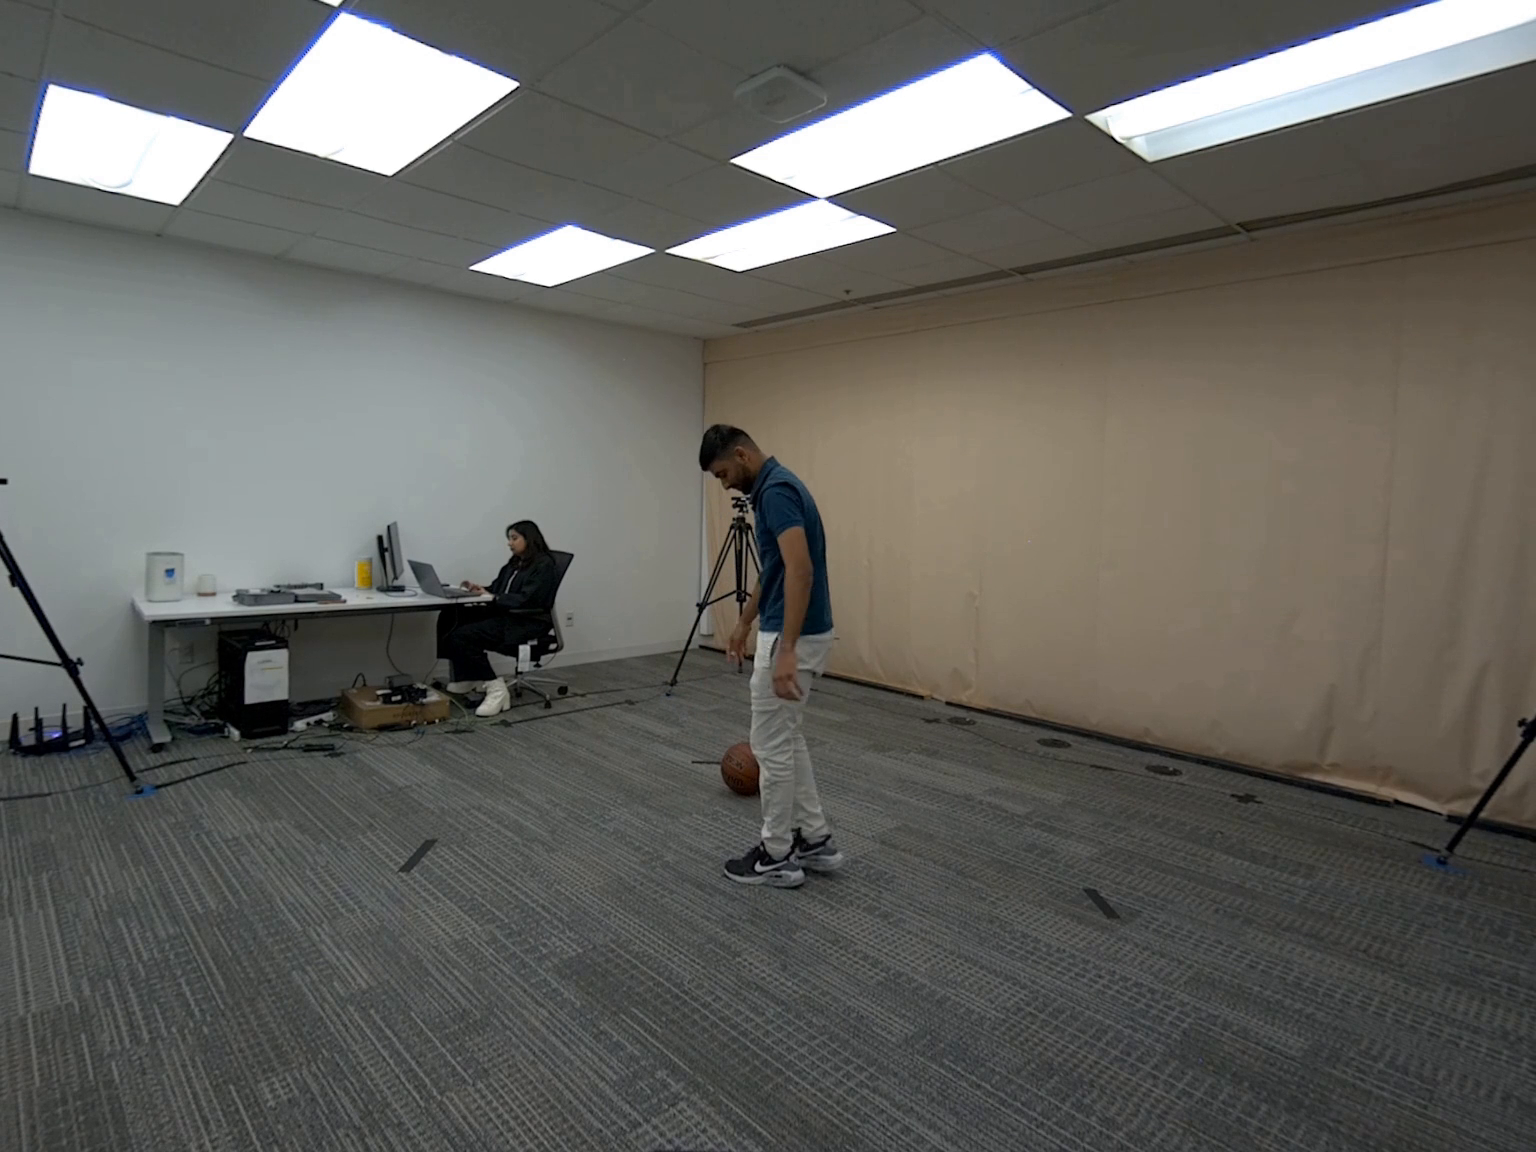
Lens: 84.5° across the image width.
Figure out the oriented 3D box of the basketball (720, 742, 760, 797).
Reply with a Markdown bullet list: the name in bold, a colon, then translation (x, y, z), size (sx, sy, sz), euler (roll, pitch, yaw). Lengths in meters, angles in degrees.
- **basketball**: translation (-0.120, 0.909, 3.997), size (0.236, 0.235, 0.237), euler (1, 4, -1)
